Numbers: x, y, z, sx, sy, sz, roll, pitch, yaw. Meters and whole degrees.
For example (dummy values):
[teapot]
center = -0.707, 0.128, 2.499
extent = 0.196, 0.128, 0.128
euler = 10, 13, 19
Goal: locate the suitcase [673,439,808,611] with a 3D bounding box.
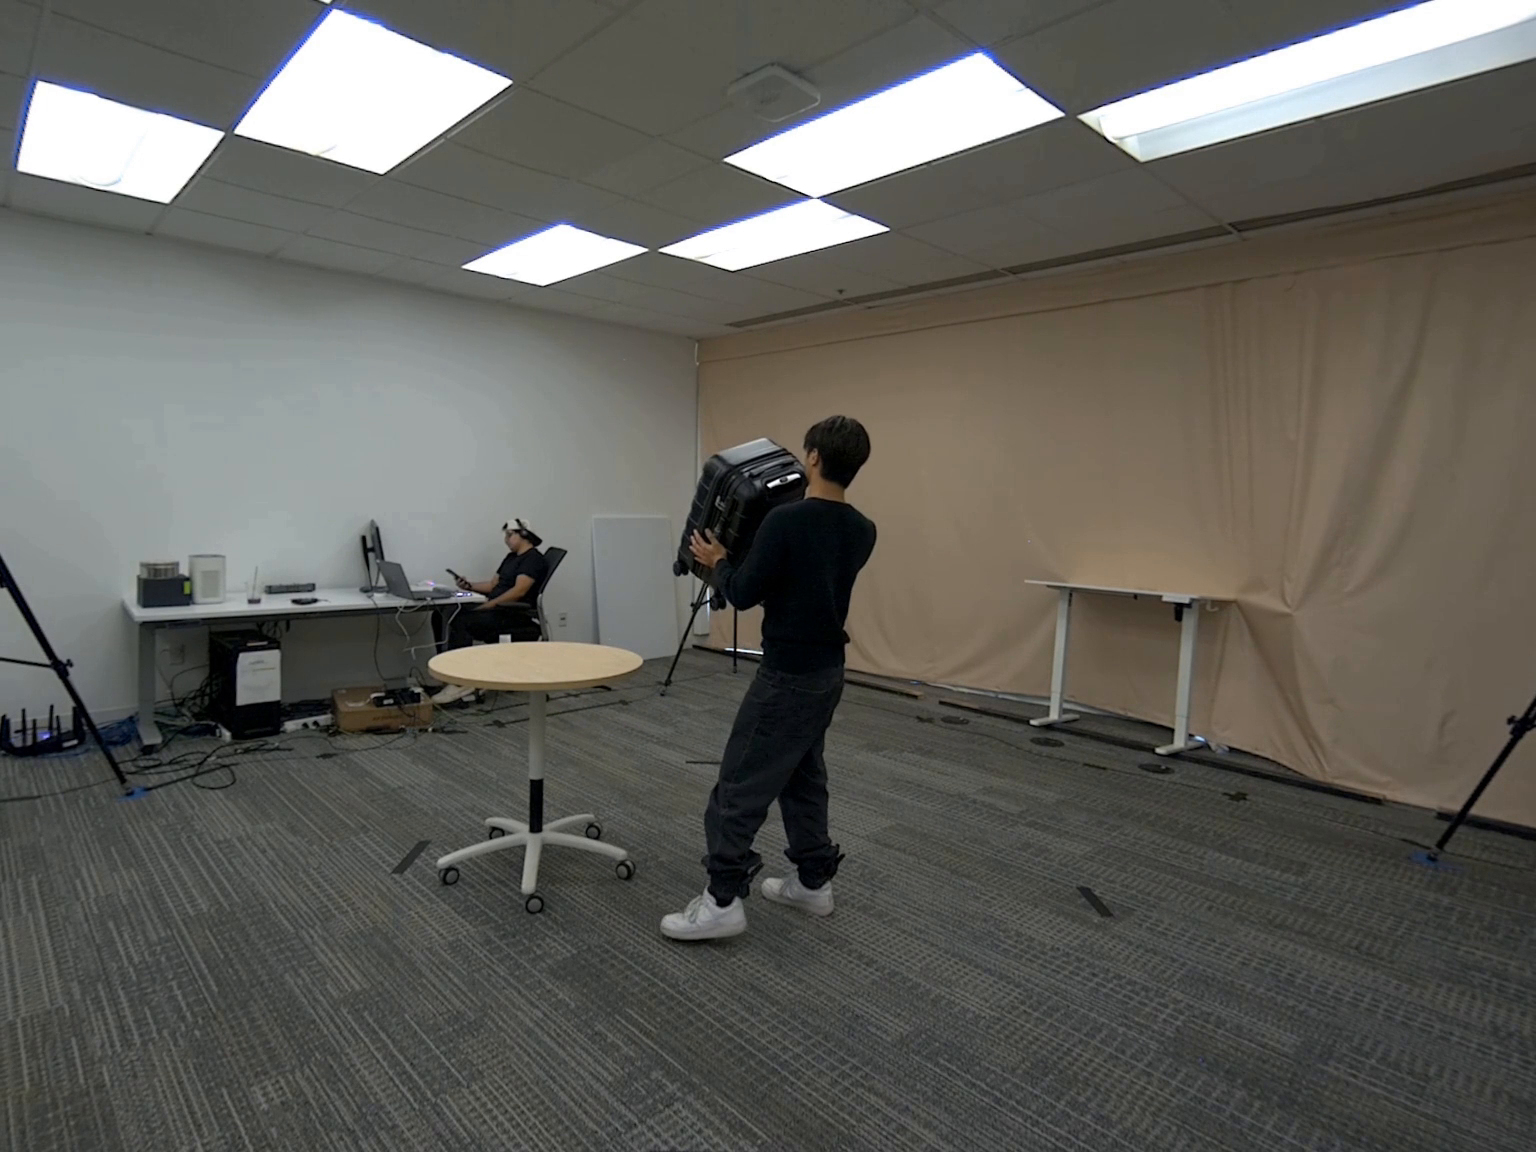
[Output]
[suitcase]
center = -0.101, -0.200, 3.010
extent = 0.255, 0.542, 0.371
euler = 40, 43, 25
